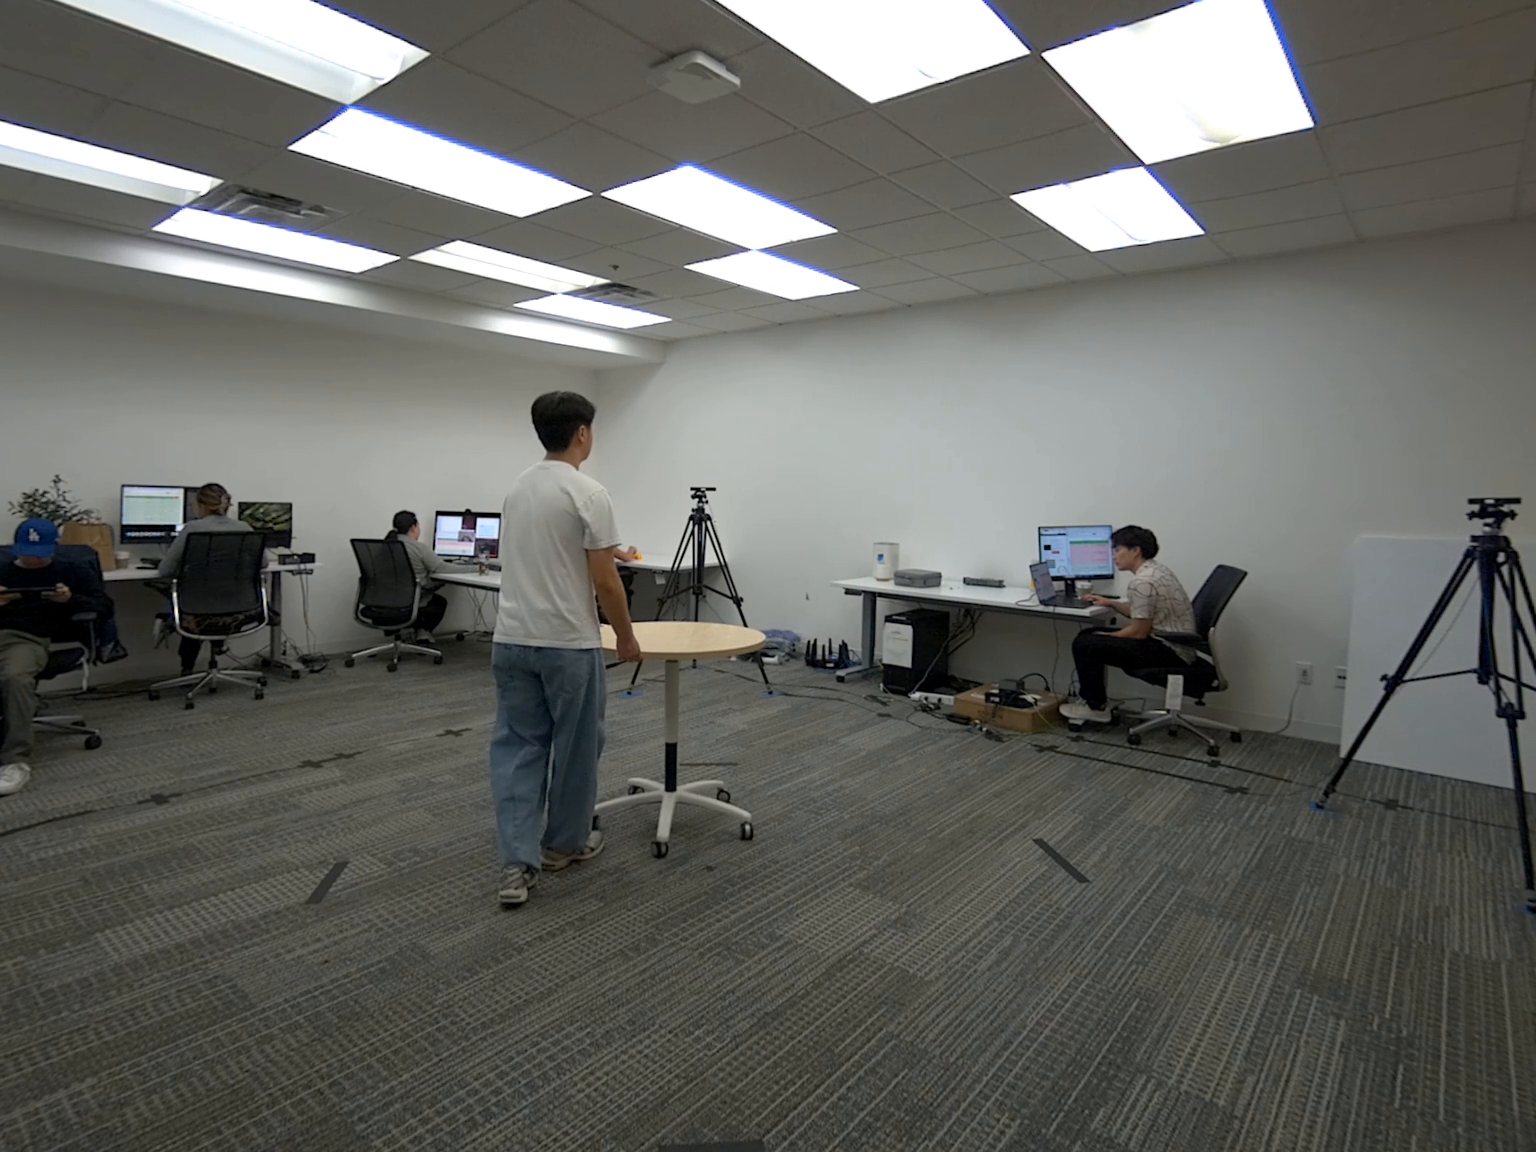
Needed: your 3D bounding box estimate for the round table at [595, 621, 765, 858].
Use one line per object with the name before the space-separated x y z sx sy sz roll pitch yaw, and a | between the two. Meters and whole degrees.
round table | -0.401 0.635 3.508 0.763 0.792 0.767 1 4 -2
